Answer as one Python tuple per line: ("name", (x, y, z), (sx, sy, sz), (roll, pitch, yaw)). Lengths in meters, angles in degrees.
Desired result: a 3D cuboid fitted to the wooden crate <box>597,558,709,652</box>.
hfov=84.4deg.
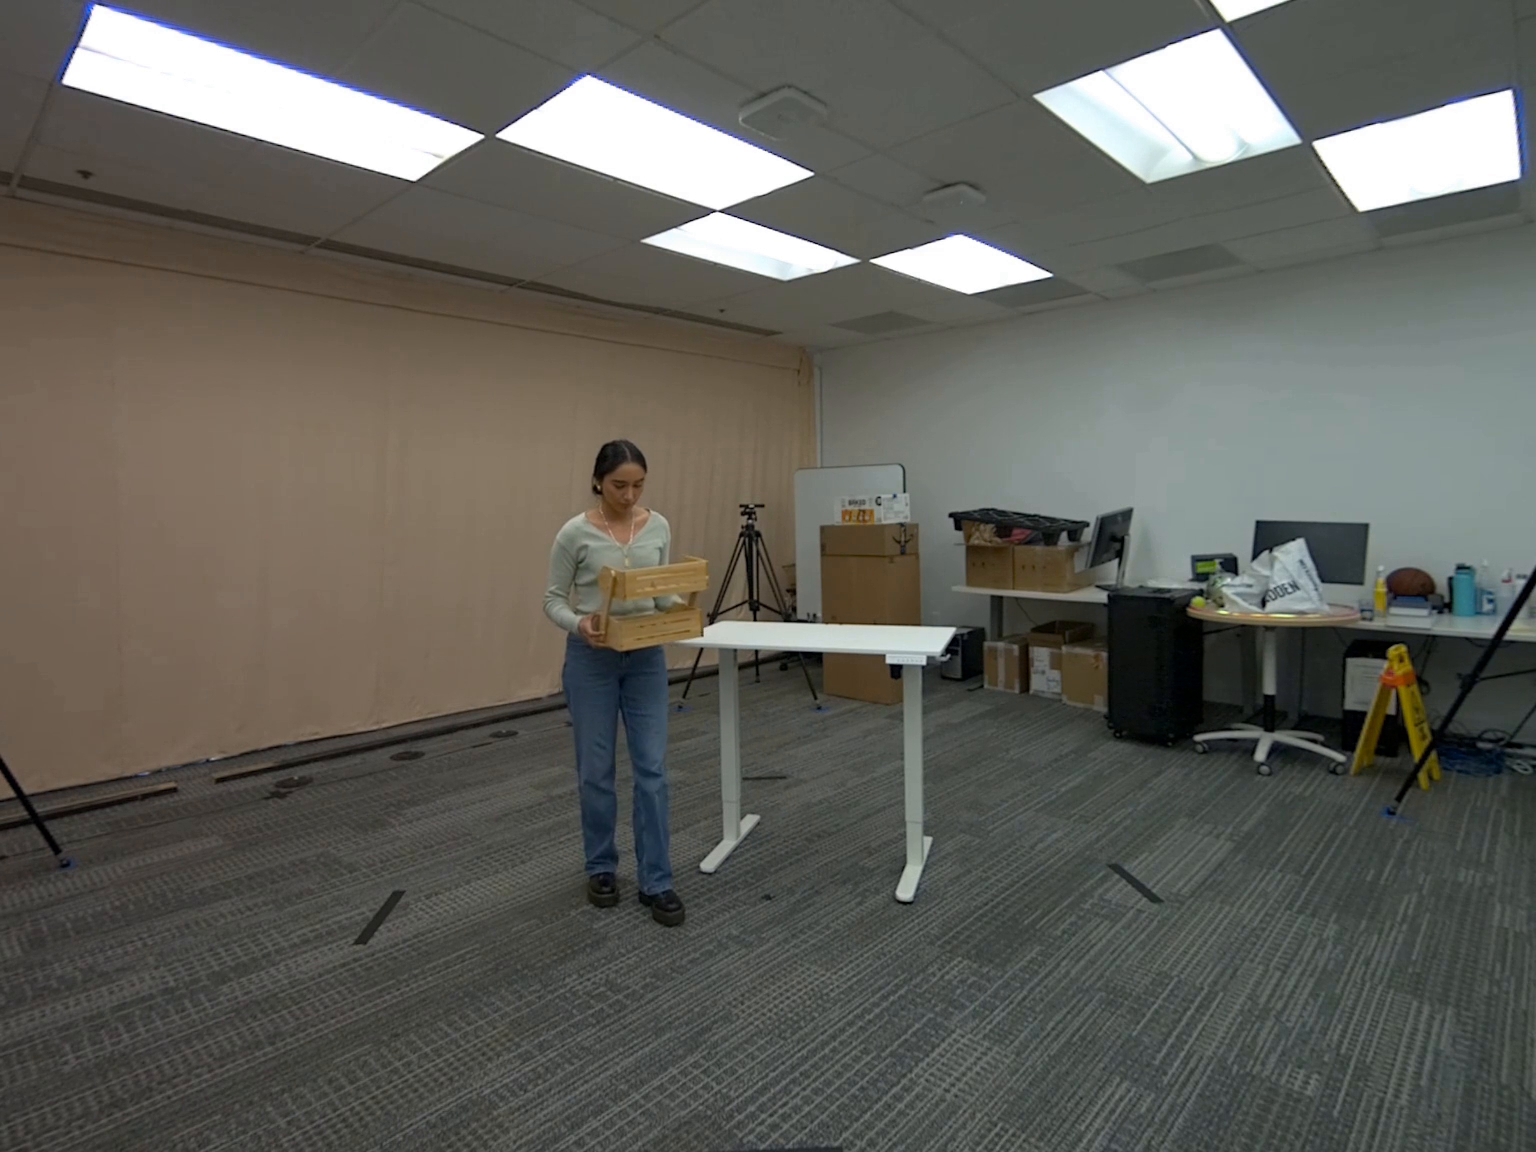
("wooden crate", (-0.394, 0.074, 2.763), (0.316, 0.272, 0.312), (-7, 11, -32))
